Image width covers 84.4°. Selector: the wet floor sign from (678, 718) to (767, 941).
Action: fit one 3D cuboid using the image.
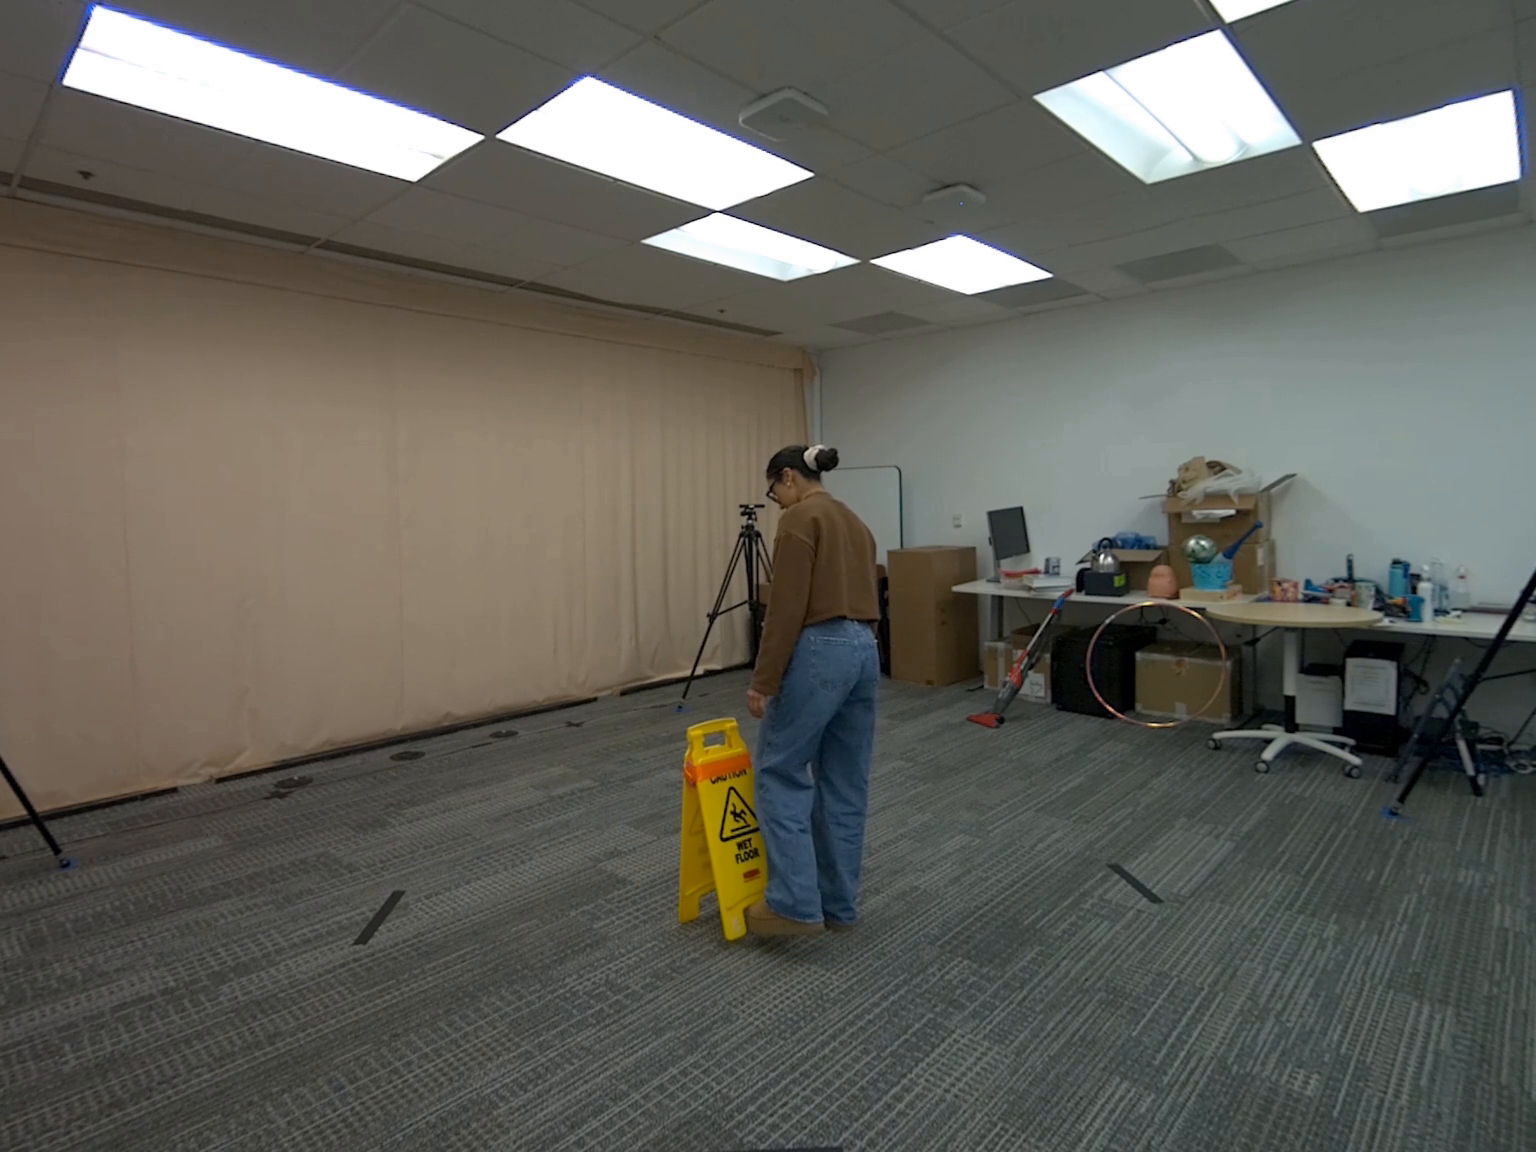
[{"bbox_3d":[-0.148,0.819,2.817,0.274,0.649,0.297,-4,-7,-39],"label":"wet floor sign"}]
